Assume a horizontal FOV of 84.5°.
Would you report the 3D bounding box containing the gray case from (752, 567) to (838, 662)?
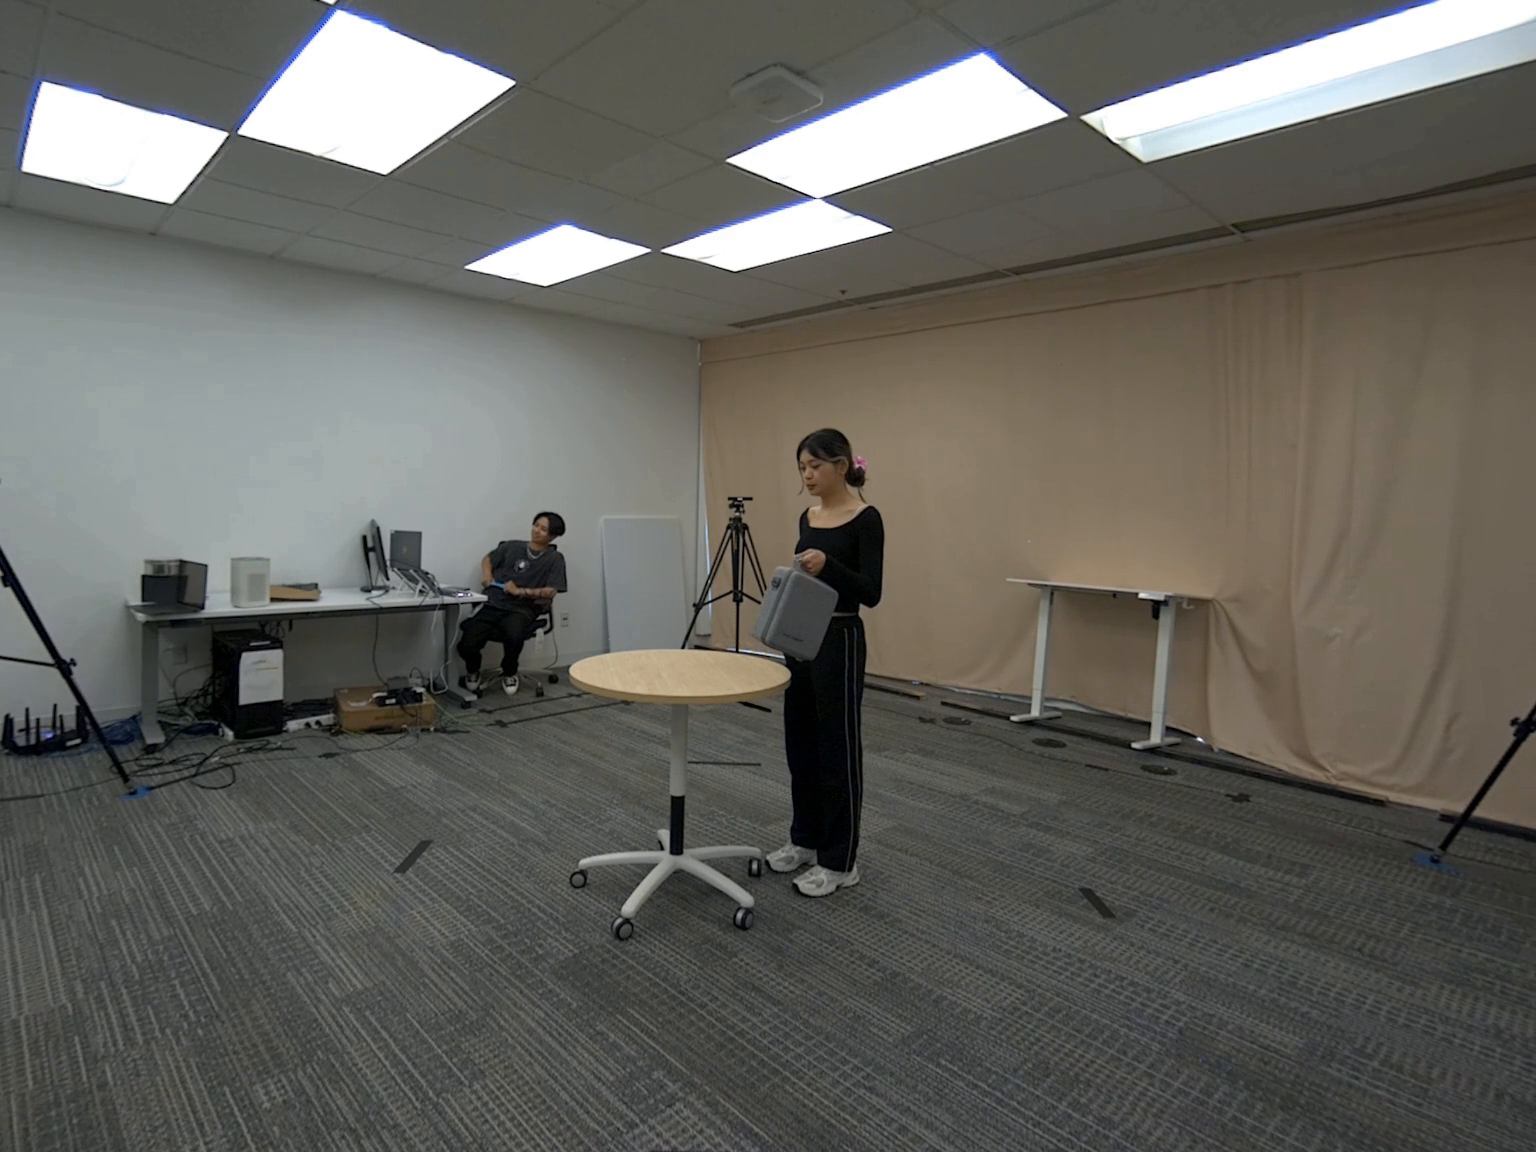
[{"bbox_3d":[0.077,0.119,2.682,0.107,0.261,0.249,14,-9,46],"label":"gray case"}]
